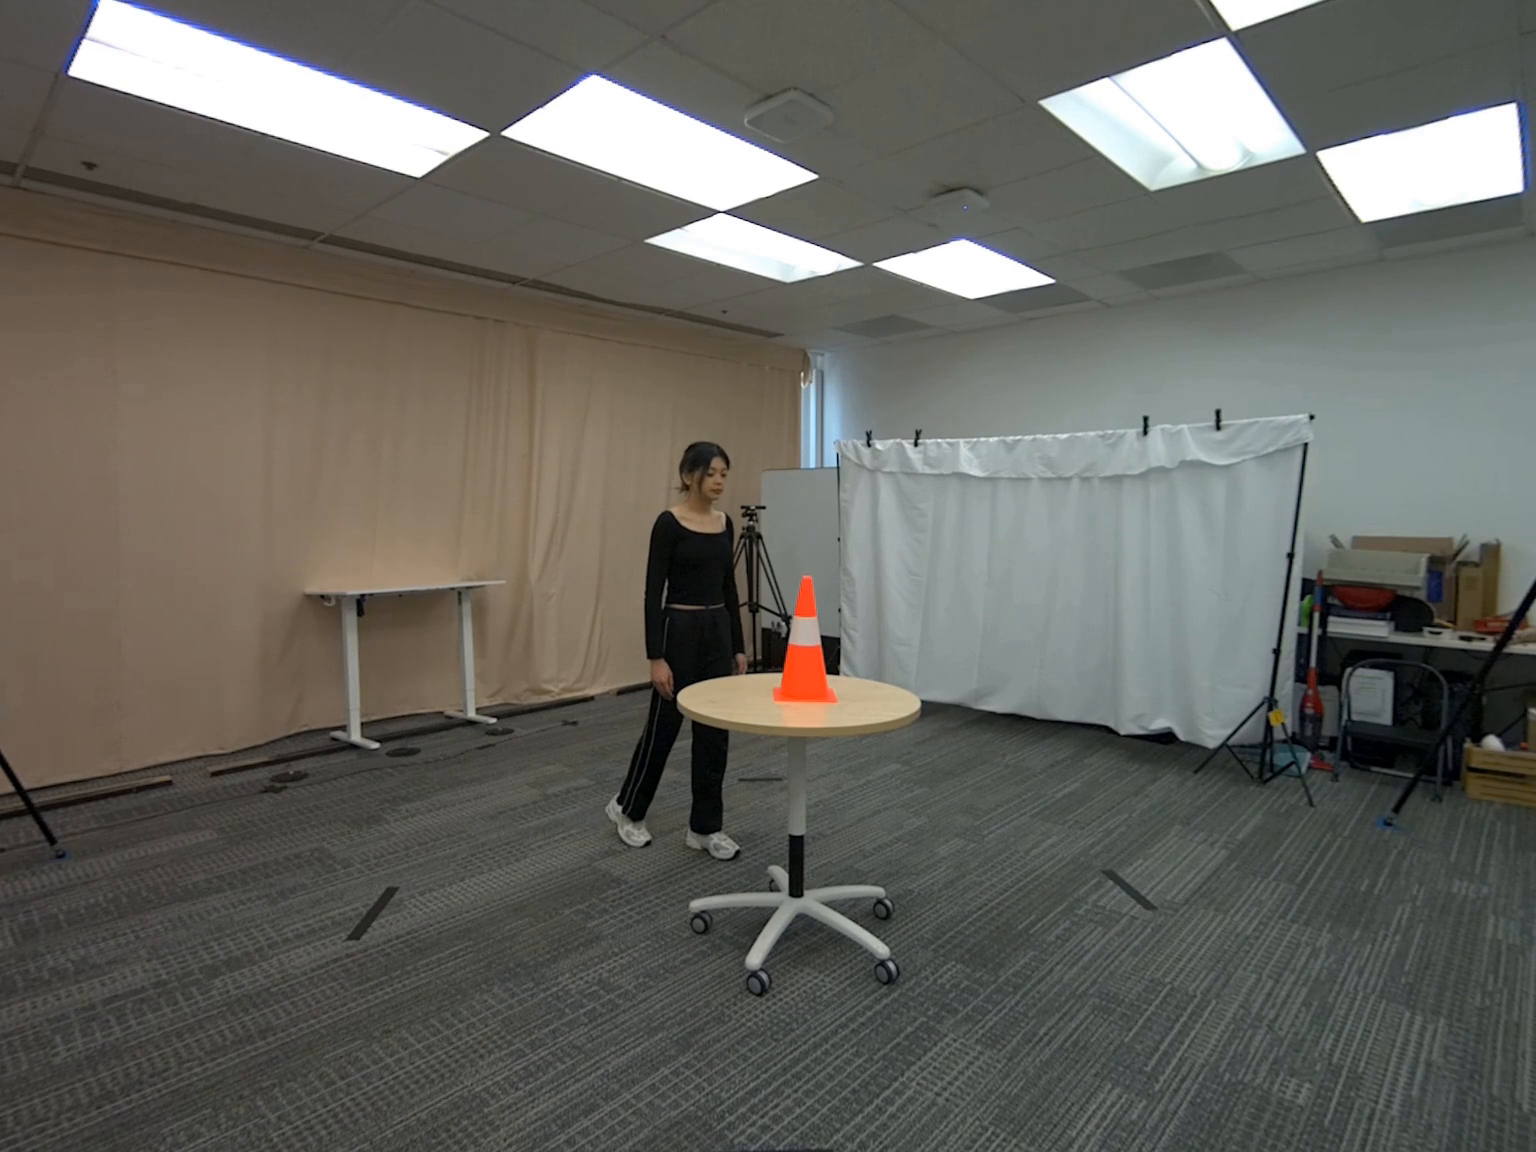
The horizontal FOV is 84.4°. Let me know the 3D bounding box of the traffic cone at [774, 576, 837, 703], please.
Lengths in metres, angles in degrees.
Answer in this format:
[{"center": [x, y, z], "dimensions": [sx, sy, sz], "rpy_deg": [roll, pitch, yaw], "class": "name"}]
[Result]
[{"center": [0.132, 0.196, 2.691], "dimensions": [0.205, 0.383, 0.203], "rpy_deg": [2, 3, 0], "class": "traffic cone"}]
